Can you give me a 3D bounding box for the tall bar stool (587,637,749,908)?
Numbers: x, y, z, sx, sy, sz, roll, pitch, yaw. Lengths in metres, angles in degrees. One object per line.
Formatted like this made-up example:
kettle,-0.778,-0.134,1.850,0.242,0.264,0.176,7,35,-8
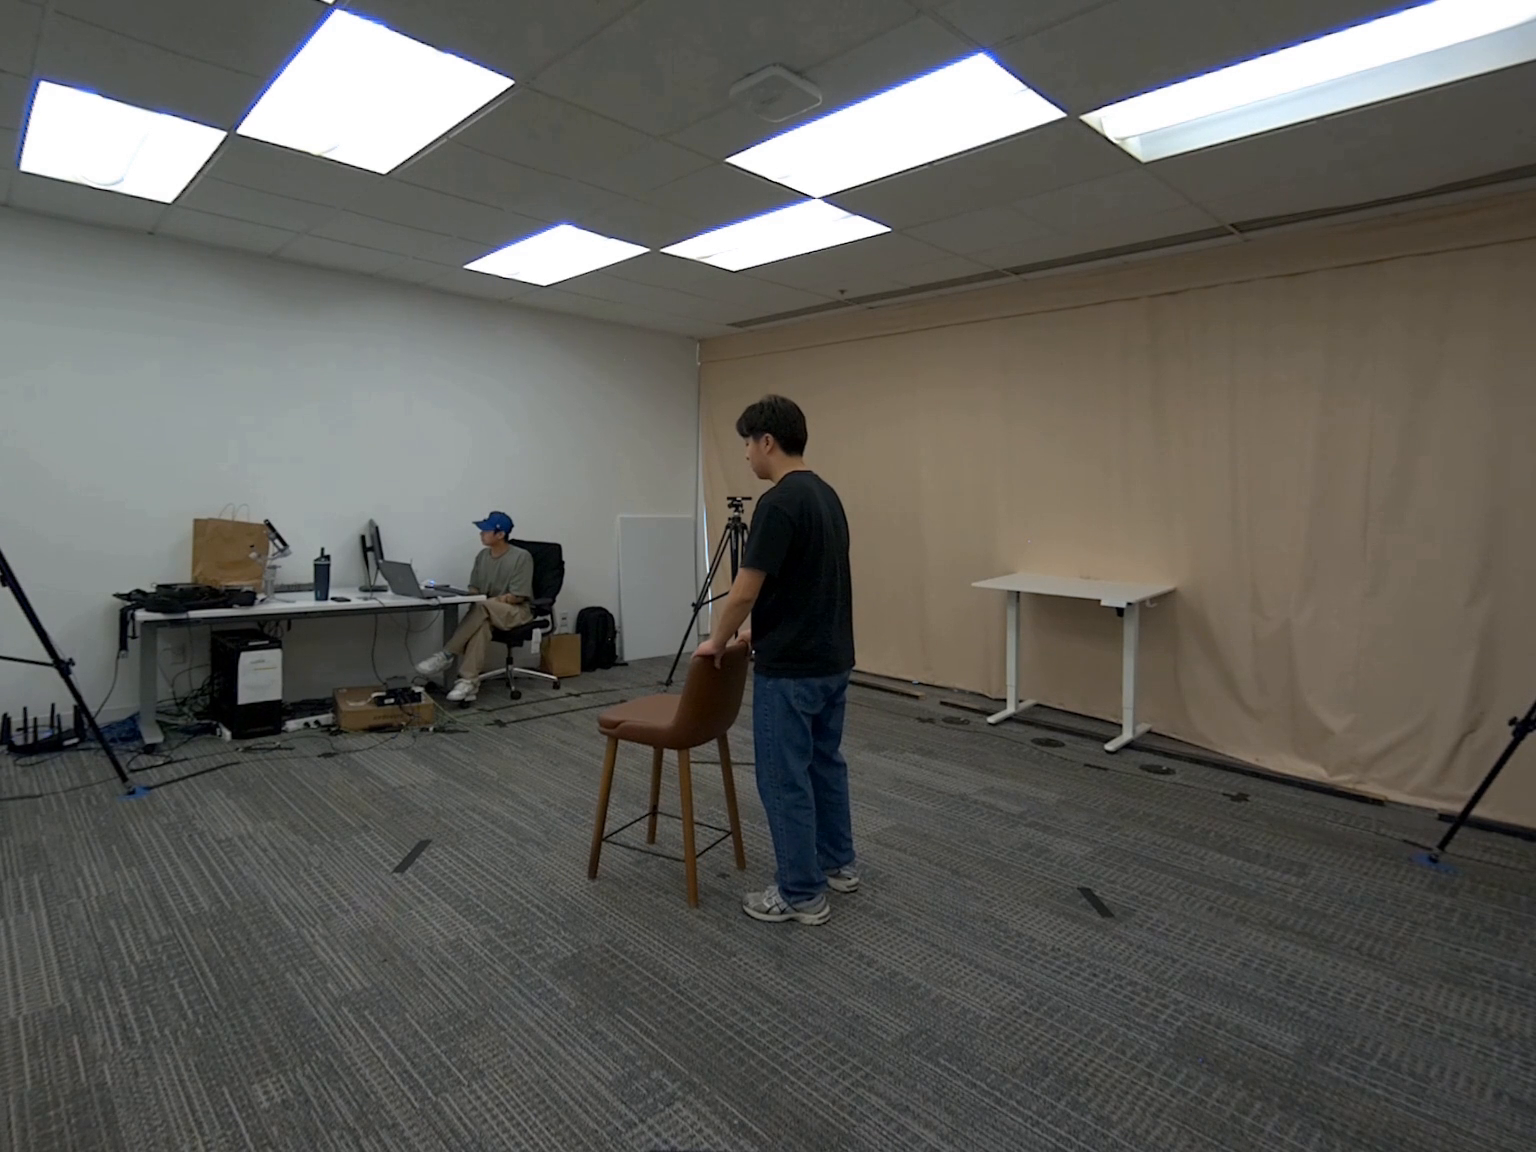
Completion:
tall bar stool,-0.349,0.662,3.094,0.478,0.887,0.448,5,5,28
